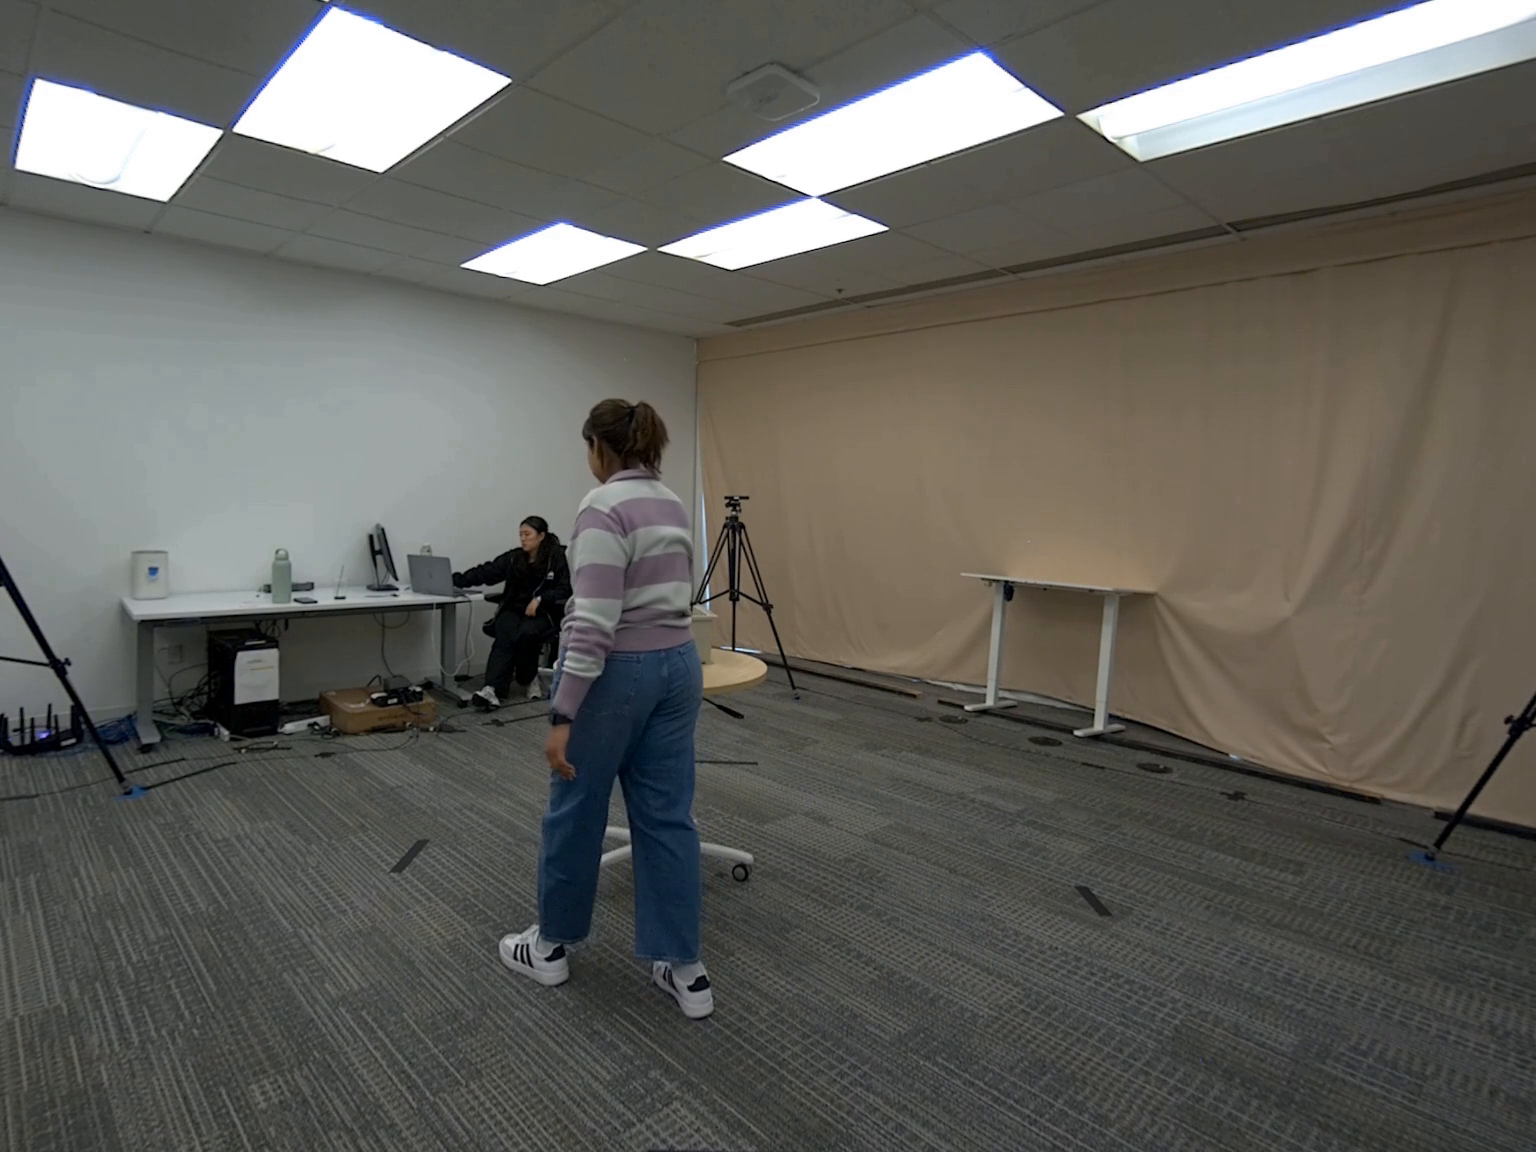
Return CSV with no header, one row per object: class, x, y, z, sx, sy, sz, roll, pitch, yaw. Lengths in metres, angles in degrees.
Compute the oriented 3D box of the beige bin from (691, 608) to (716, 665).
beige bin,-0.441,0.218,3.178,0.417,0.188,0.383,1,6,-16
